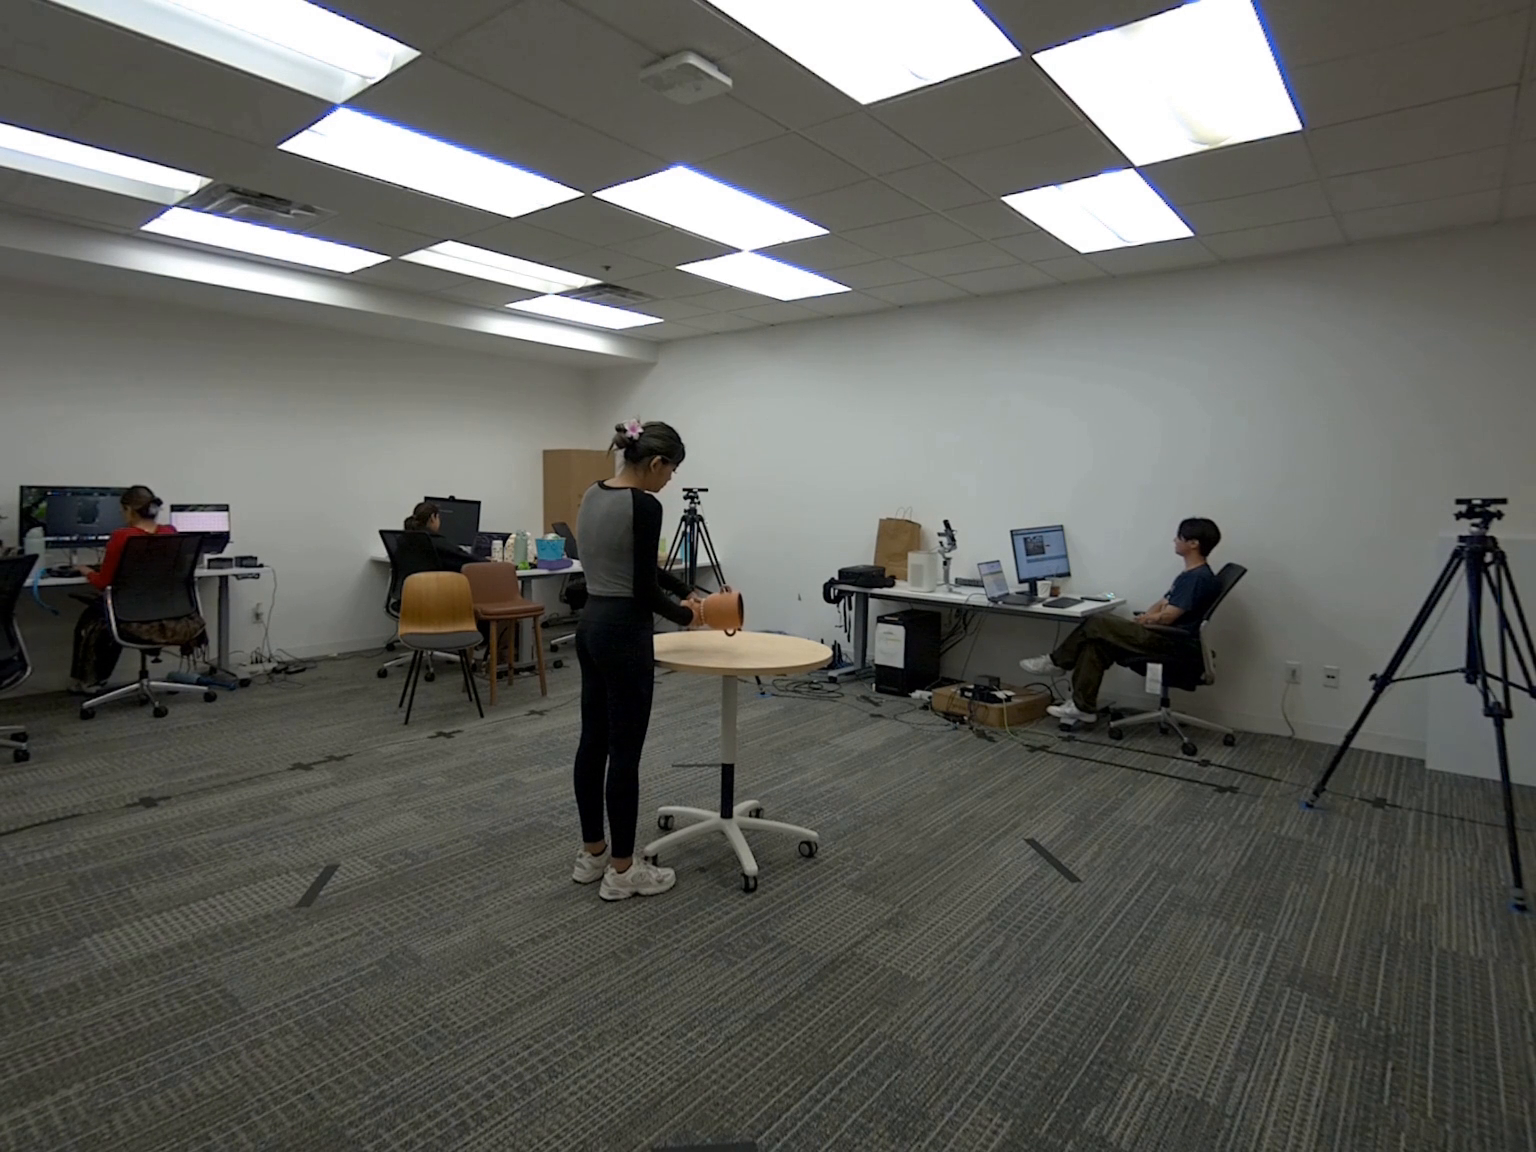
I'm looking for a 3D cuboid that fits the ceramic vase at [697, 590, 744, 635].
[{"bbox_3d":[-0.213,0.126,3.137,0.223,0.162,0.130,-4,-32,13],"label":"ceramic vase"}]
